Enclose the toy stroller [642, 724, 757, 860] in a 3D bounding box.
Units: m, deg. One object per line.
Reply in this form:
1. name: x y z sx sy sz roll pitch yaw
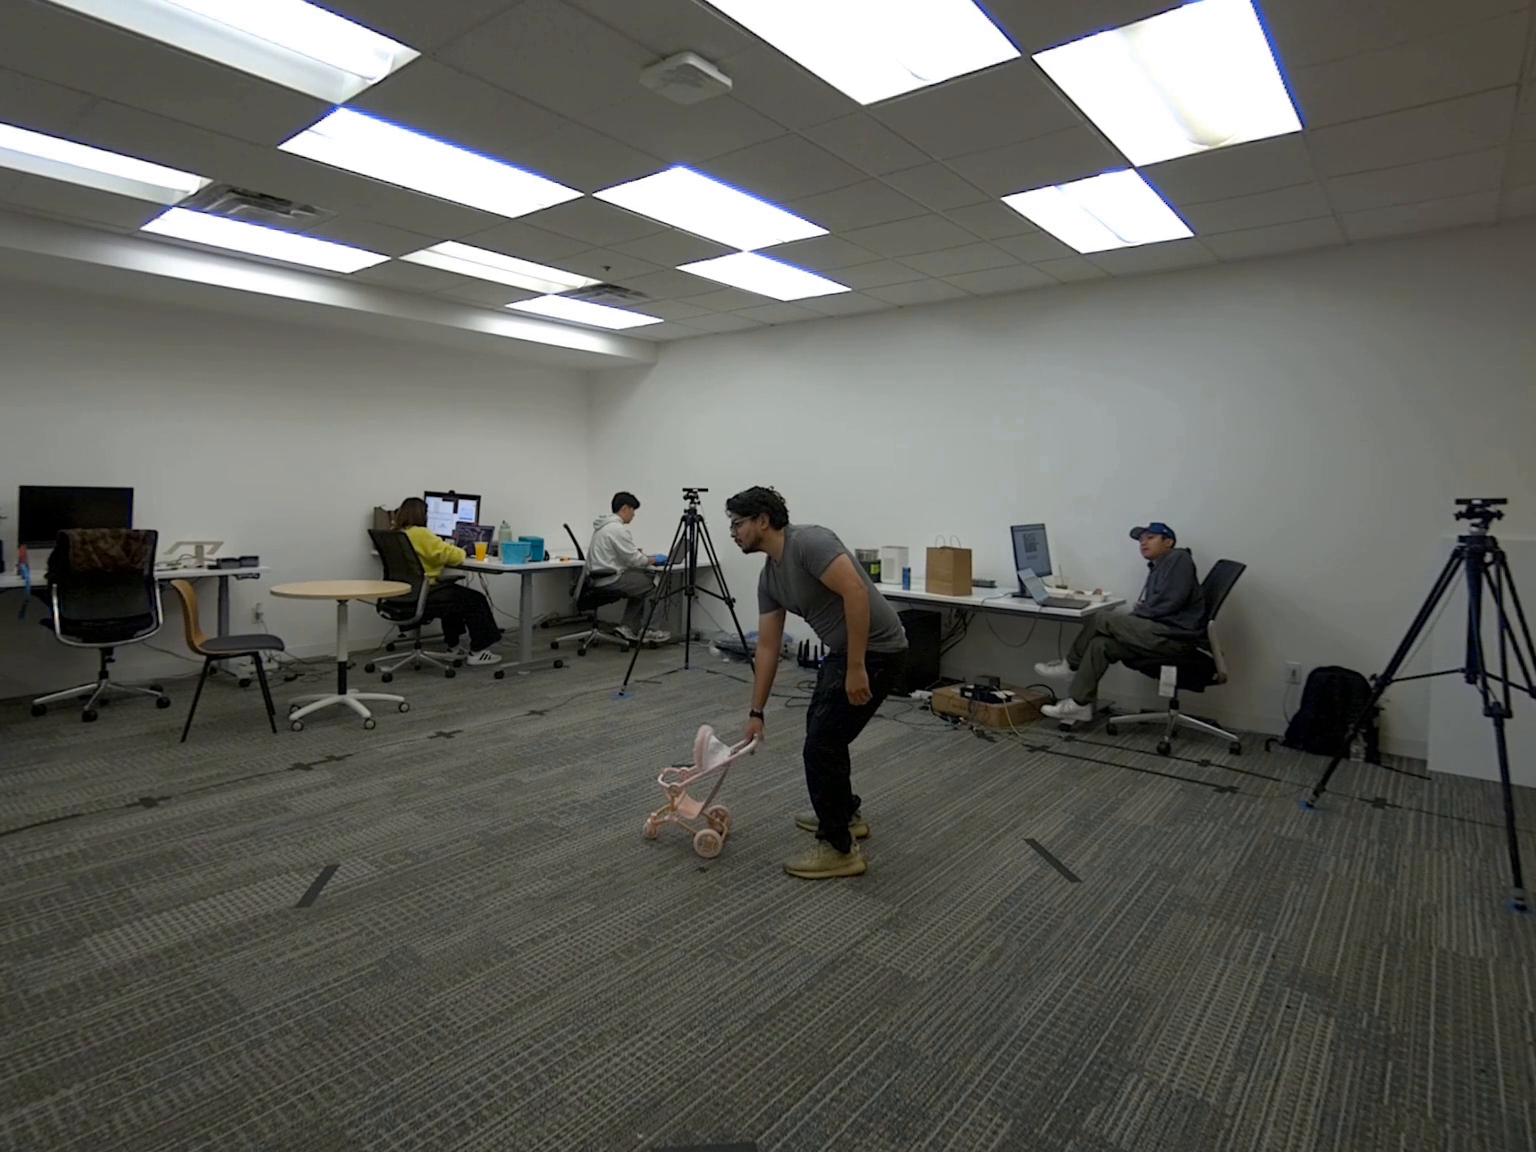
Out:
1. toy stroller: -0.283 0.826 3.336 0.347 0.533 0.278 19 6 11
